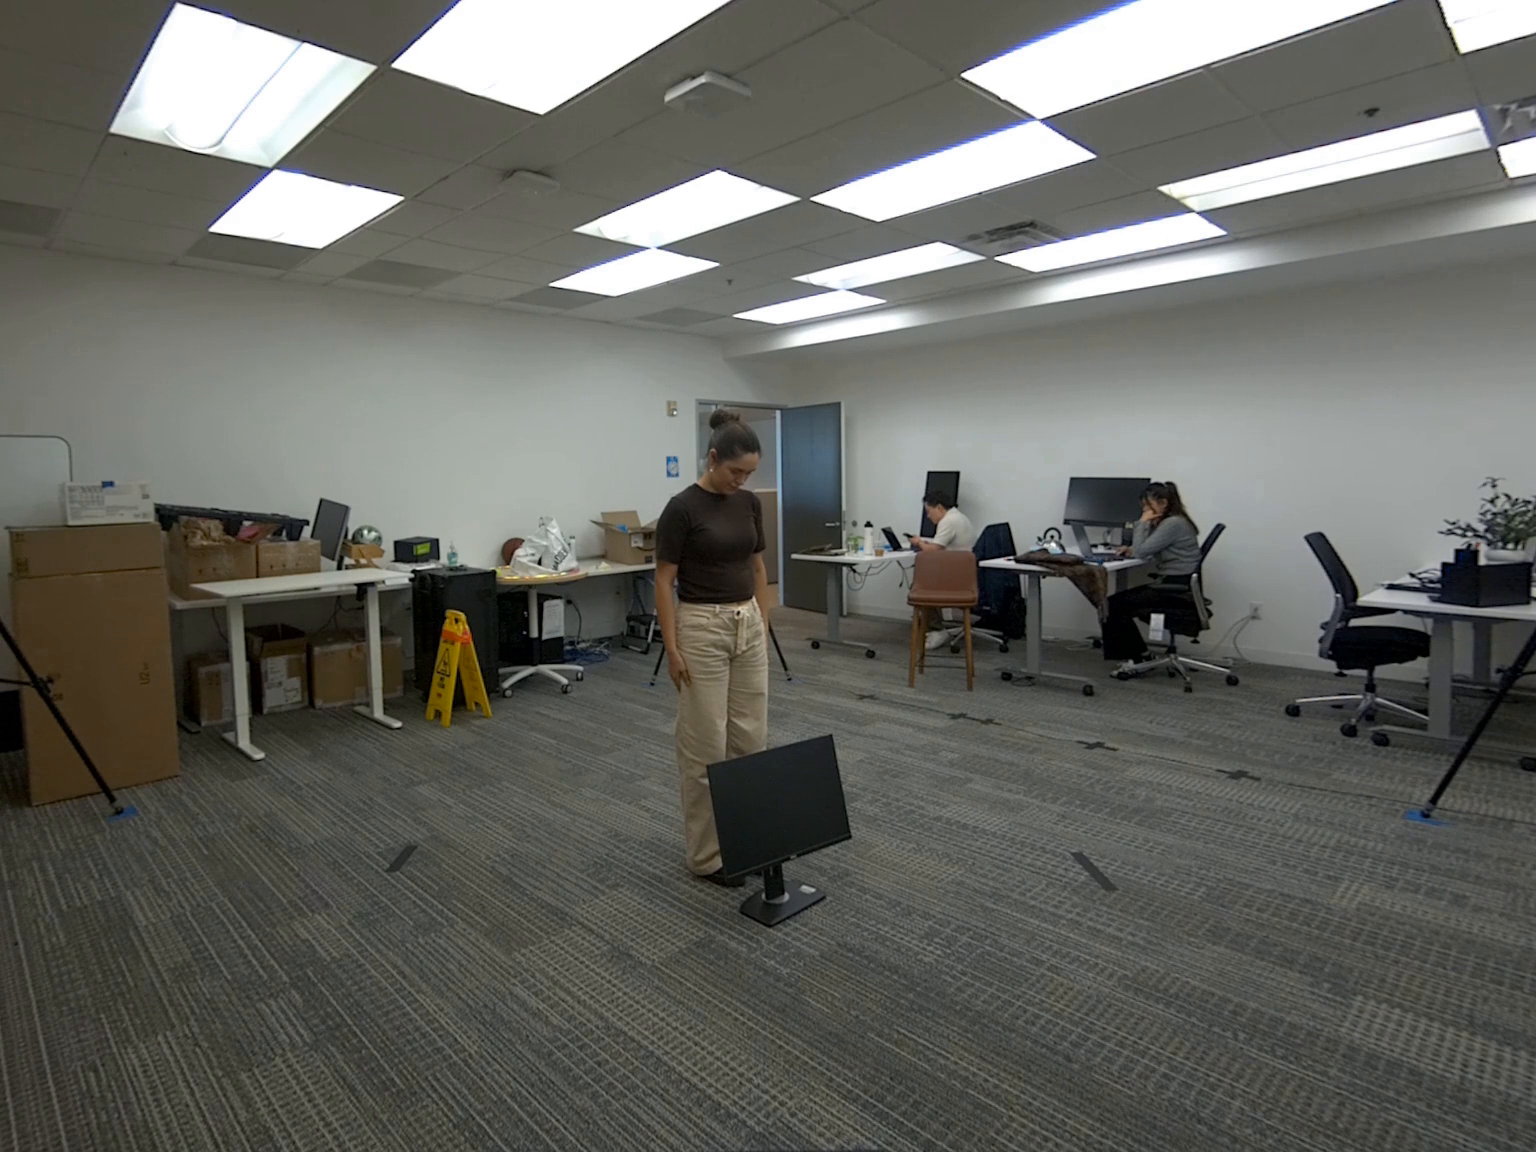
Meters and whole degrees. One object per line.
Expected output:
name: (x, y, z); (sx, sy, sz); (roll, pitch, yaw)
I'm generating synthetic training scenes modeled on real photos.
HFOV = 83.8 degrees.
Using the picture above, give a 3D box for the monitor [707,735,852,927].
monitor: (0.029, 0.828, 2.798); (0.525, 0.521, 0.192); (-5, 4, -42)
